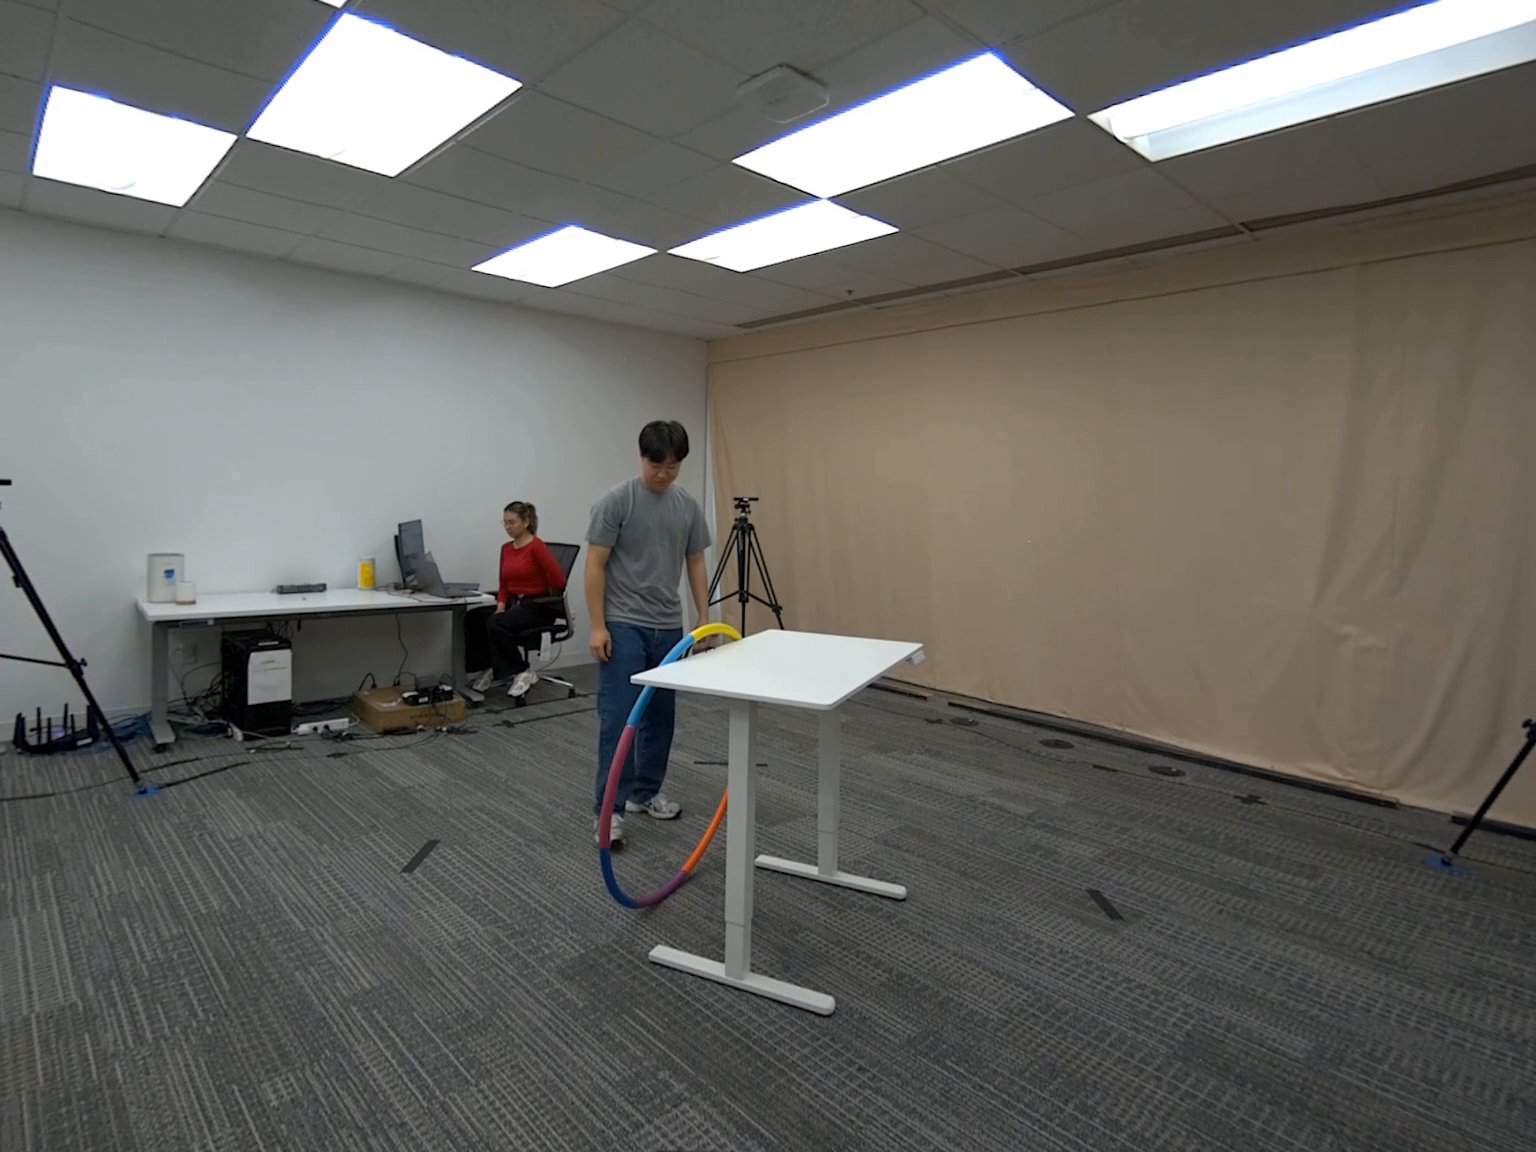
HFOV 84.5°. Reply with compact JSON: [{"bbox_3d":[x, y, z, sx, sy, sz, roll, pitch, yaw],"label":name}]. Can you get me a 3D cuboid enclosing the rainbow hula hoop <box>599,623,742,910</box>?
[{"bbox_3d":[-0.291,0.641,2.890,0.036,0.974,0.963,13,8,21],"label":"rainbow hula hoop"}]
